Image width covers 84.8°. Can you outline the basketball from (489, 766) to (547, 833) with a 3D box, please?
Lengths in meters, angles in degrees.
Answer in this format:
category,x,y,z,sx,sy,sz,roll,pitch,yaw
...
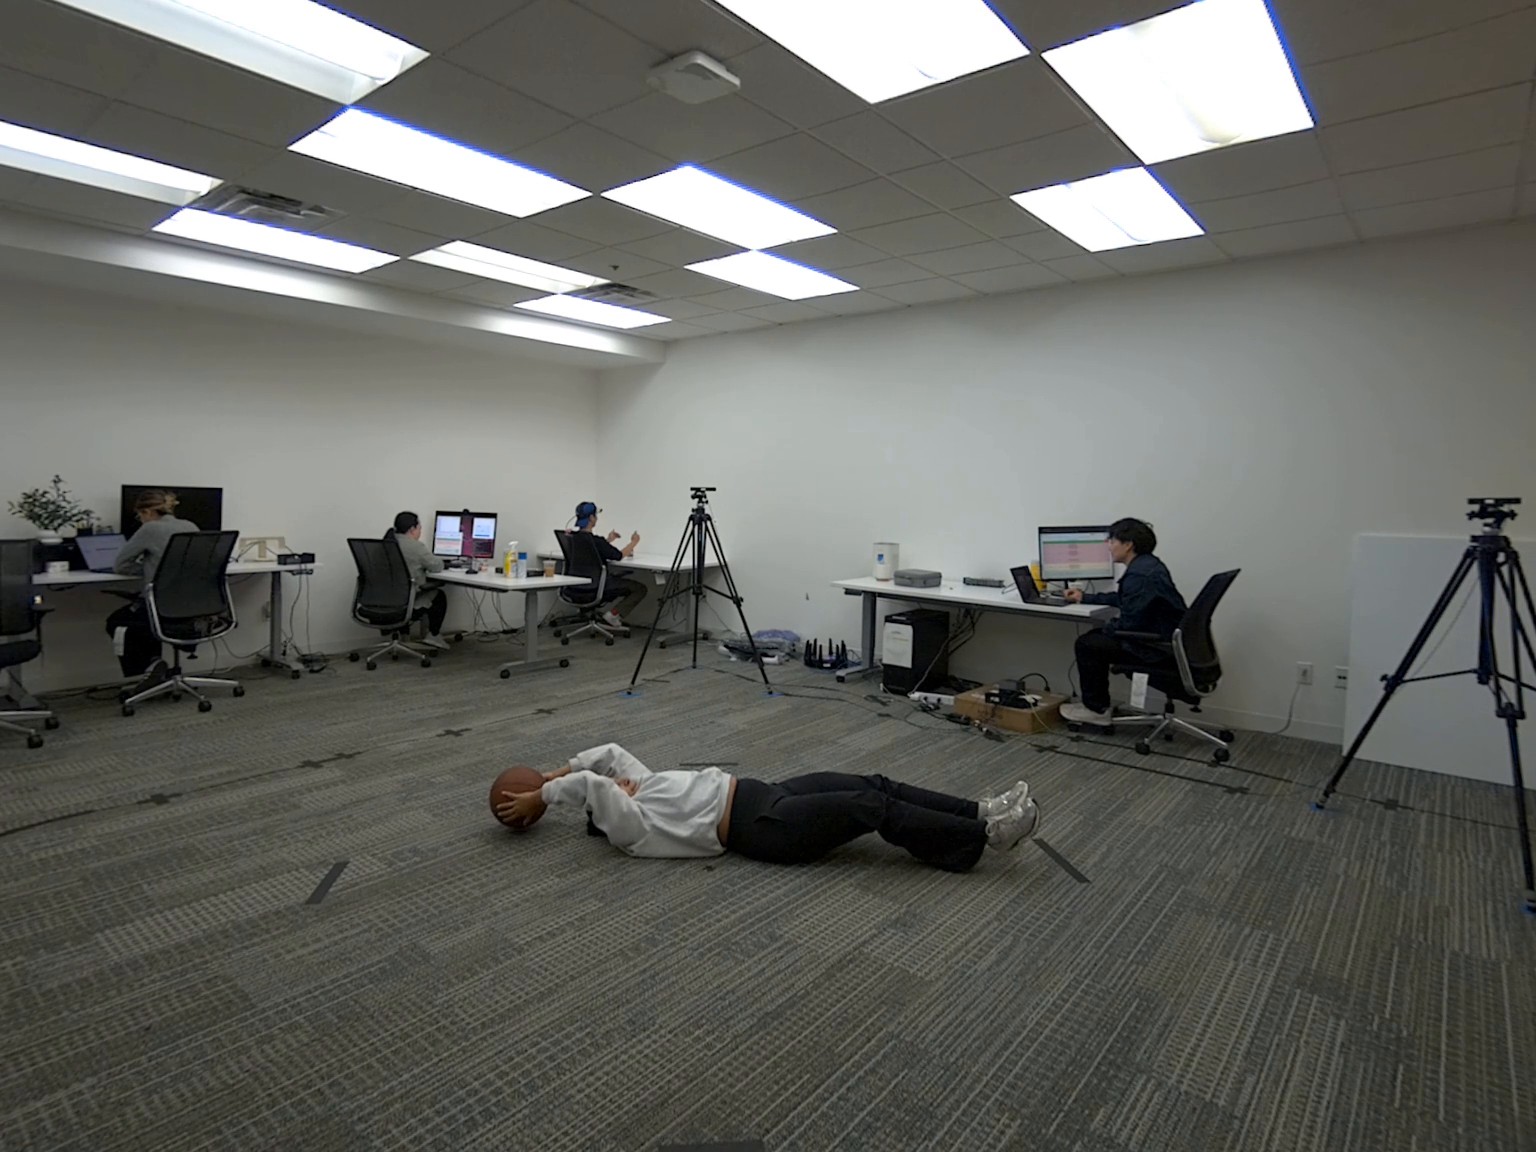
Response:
category,x,y,z,sx,sy,sz,roll,pitch,yaw
basketball,-1.011,0.871,3.433,0.236,0.235,0.237,0,4,-2
